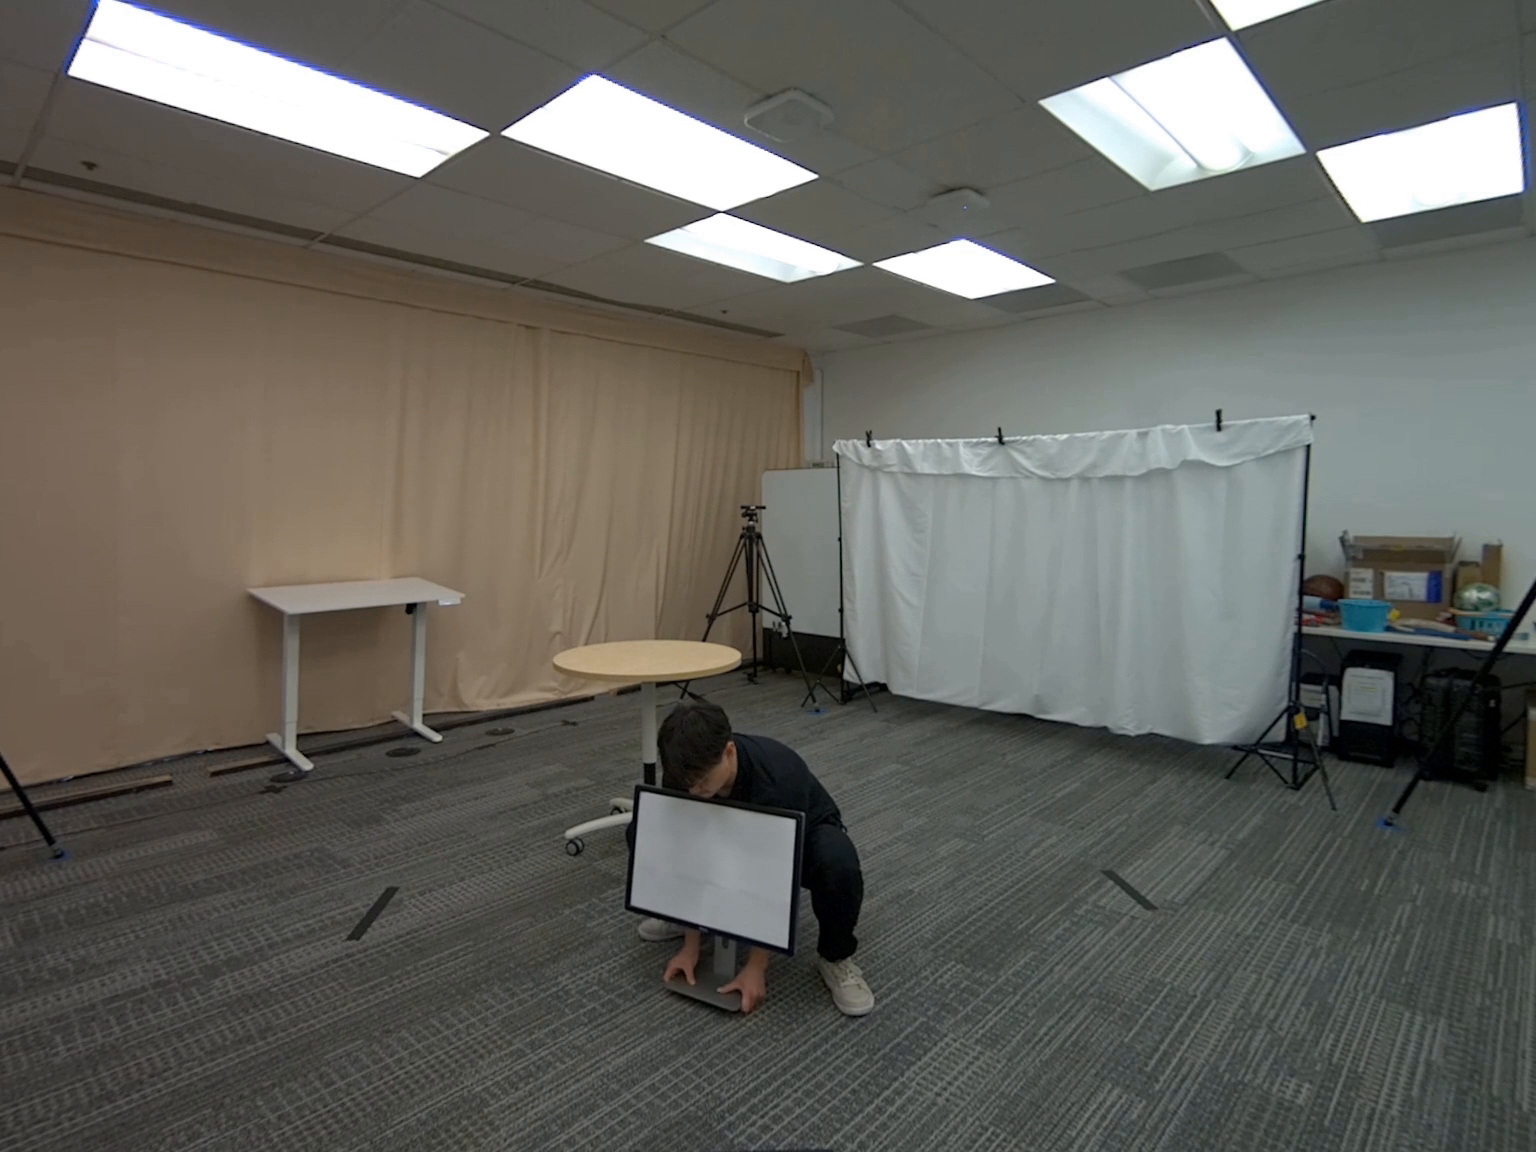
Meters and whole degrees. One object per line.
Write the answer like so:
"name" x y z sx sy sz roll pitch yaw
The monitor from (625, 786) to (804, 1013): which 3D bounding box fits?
"monitor" -0.155 0.900 2.416 0.554 0.522 0.182 1 2 30
